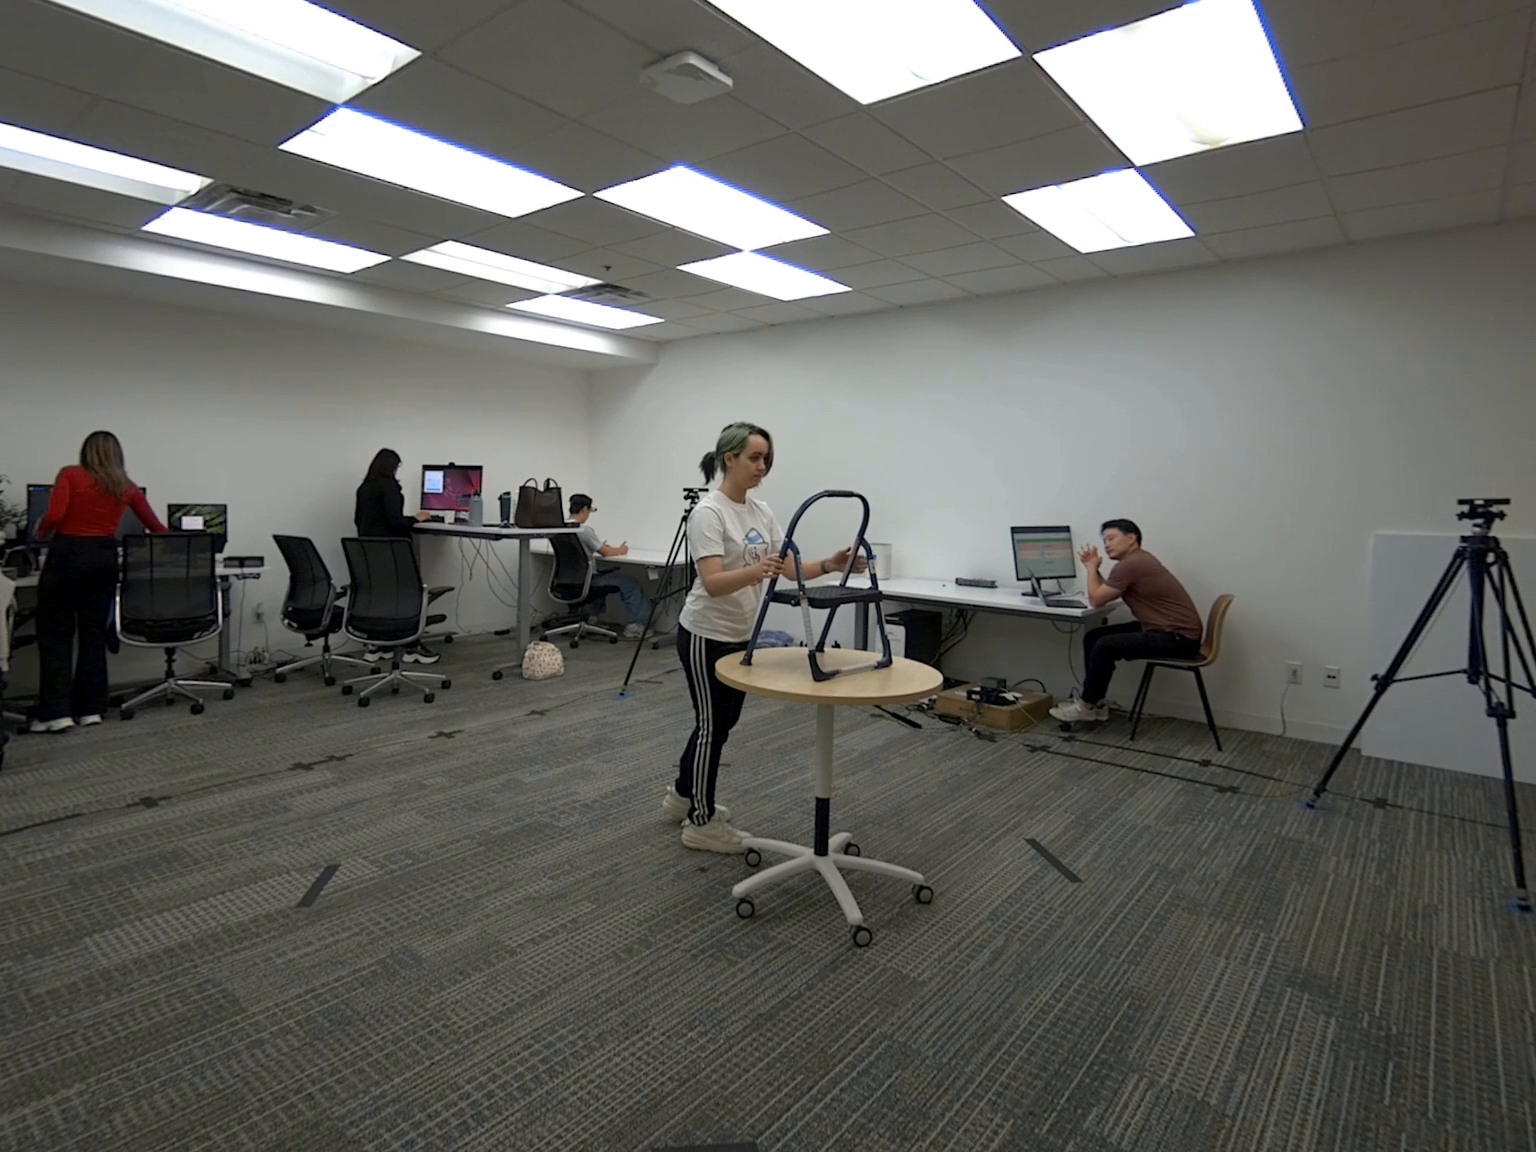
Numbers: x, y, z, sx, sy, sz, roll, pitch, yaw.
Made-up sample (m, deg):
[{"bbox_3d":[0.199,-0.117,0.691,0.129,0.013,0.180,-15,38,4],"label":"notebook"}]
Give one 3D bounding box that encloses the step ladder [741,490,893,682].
[{"bbox_3d":[0.177,0.007,2.933,0.361,0.604,0.417,5,5,44],"label":"step ladder"}]
